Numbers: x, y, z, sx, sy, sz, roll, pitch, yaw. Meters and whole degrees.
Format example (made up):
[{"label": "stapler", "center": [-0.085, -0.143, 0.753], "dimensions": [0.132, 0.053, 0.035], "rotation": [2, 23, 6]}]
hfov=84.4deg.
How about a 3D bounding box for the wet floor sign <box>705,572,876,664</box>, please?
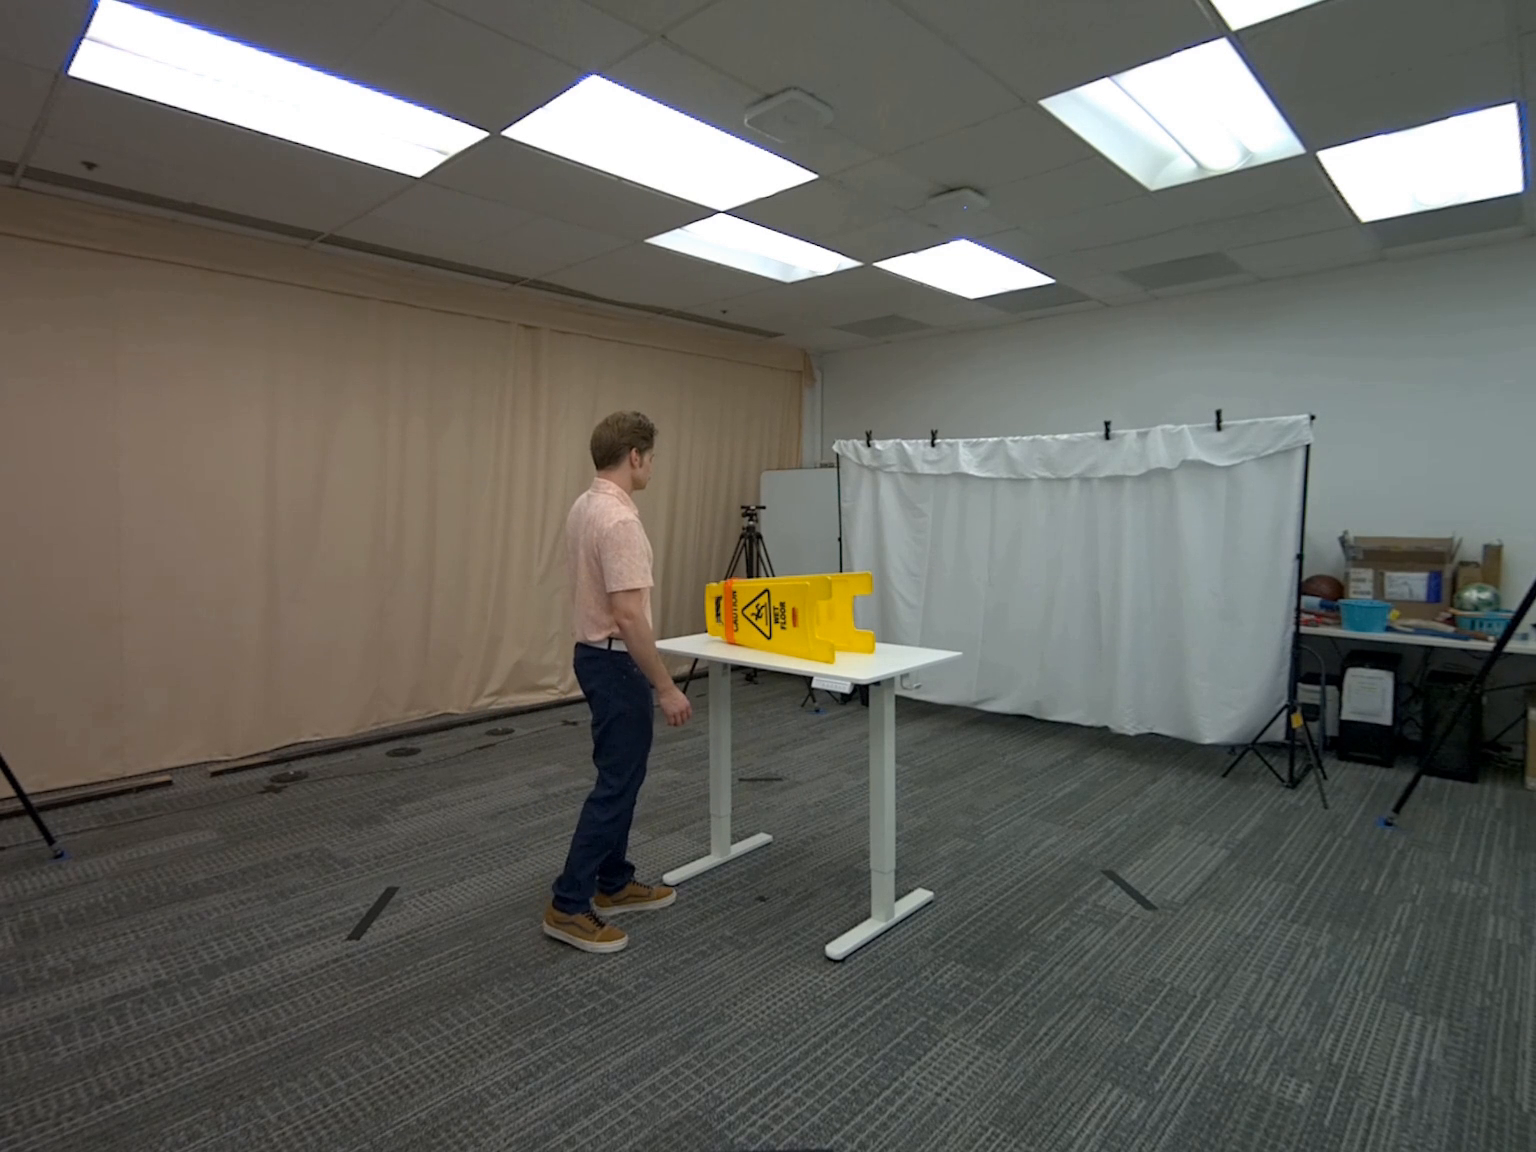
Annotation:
[{"label": "wet floor sign", "center": [0.031, 0.135, 2.989], "dimensions": [0.667, 0.282, 0.281], "rotation": [1, 3, 41]}]
